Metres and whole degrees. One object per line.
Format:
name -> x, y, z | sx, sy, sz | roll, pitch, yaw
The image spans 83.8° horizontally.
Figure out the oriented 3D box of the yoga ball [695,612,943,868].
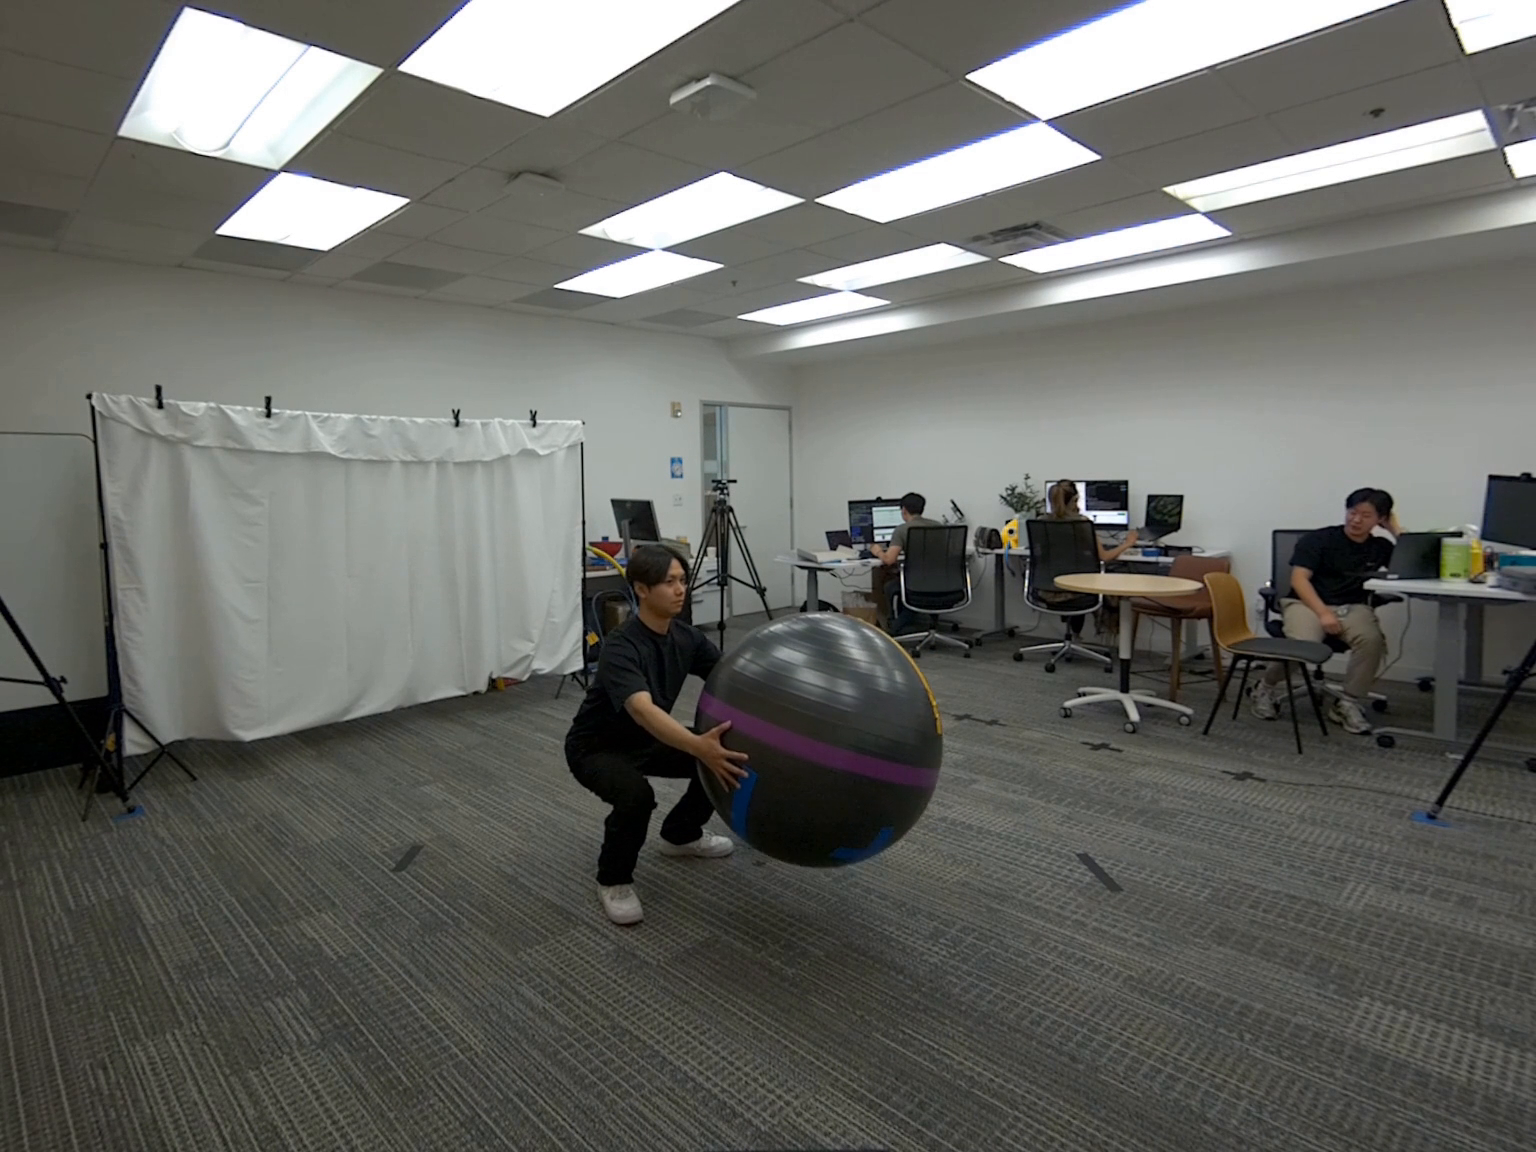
yoga ball -> 0.167, 0.508, 2.626 | 0.757, 0.755, 0.762 | -1, 5, -2
